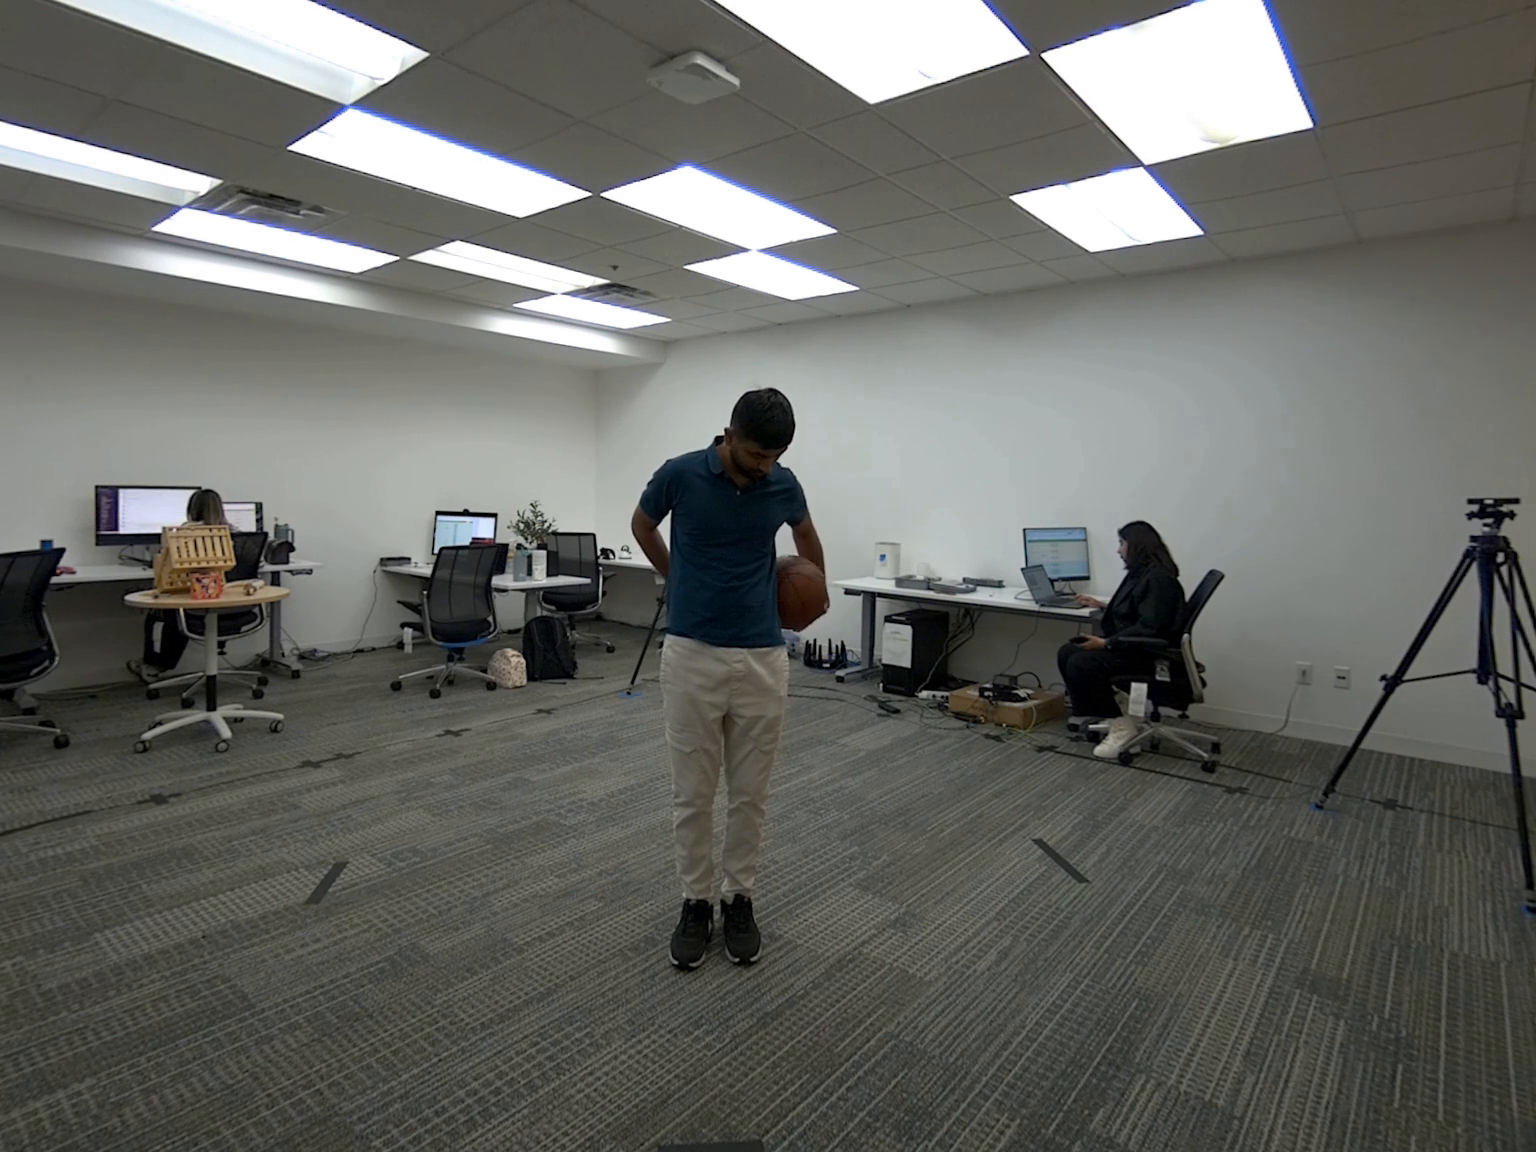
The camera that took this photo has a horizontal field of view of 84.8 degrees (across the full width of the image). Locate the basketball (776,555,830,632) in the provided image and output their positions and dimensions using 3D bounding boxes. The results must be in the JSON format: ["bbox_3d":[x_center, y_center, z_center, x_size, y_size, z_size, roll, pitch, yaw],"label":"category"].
[{"bbox_3d":[0.054,0.055,2.705,0.235,0.235,0.237,1,4,-2],"label":"basketball"}]
